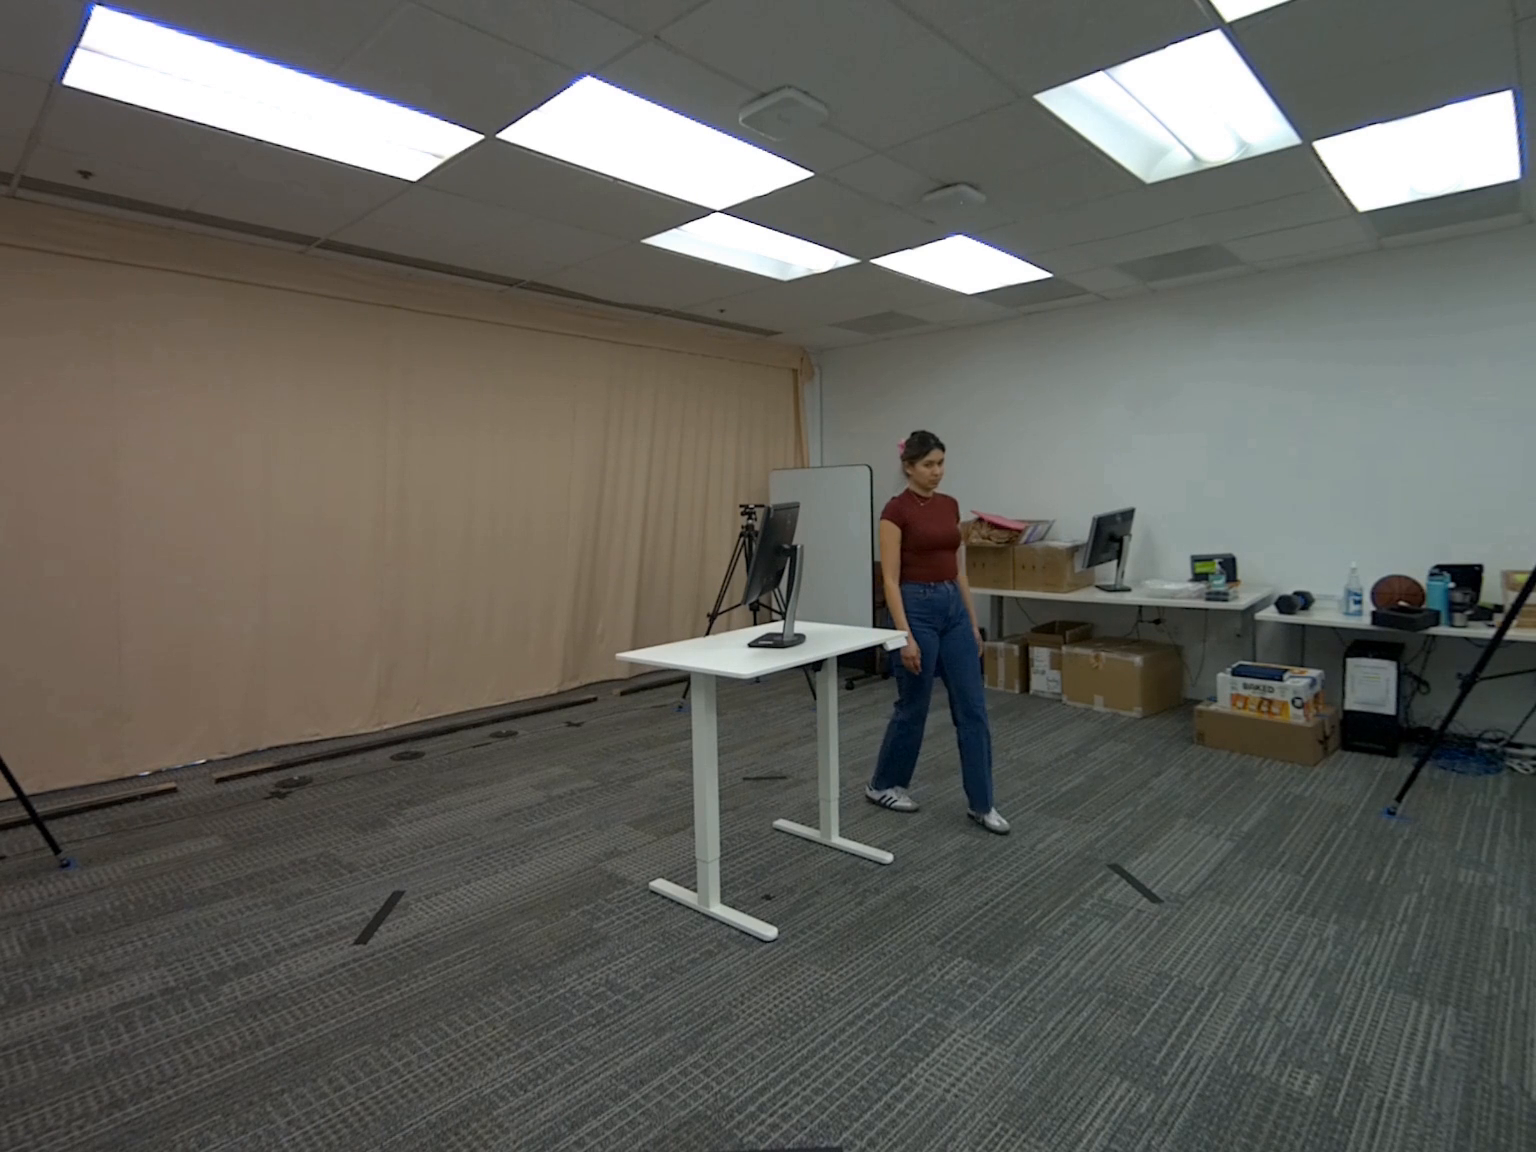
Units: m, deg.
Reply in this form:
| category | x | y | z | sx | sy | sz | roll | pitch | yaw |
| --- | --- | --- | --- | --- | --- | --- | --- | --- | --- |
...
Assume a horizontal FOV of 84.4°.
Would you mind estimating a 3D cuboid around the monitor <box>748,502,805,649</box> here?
| category | x | y | z | sx | sy | sz | roll | pitch | yaw |
| --- | --- | --- | --- | --- | --- | --- | --- | --- | --- |
| monitor | 0.048 | -0.007 | 3.103 | 0.190 | 0.521 | 0.533 | 0 | 5 | 12 |
